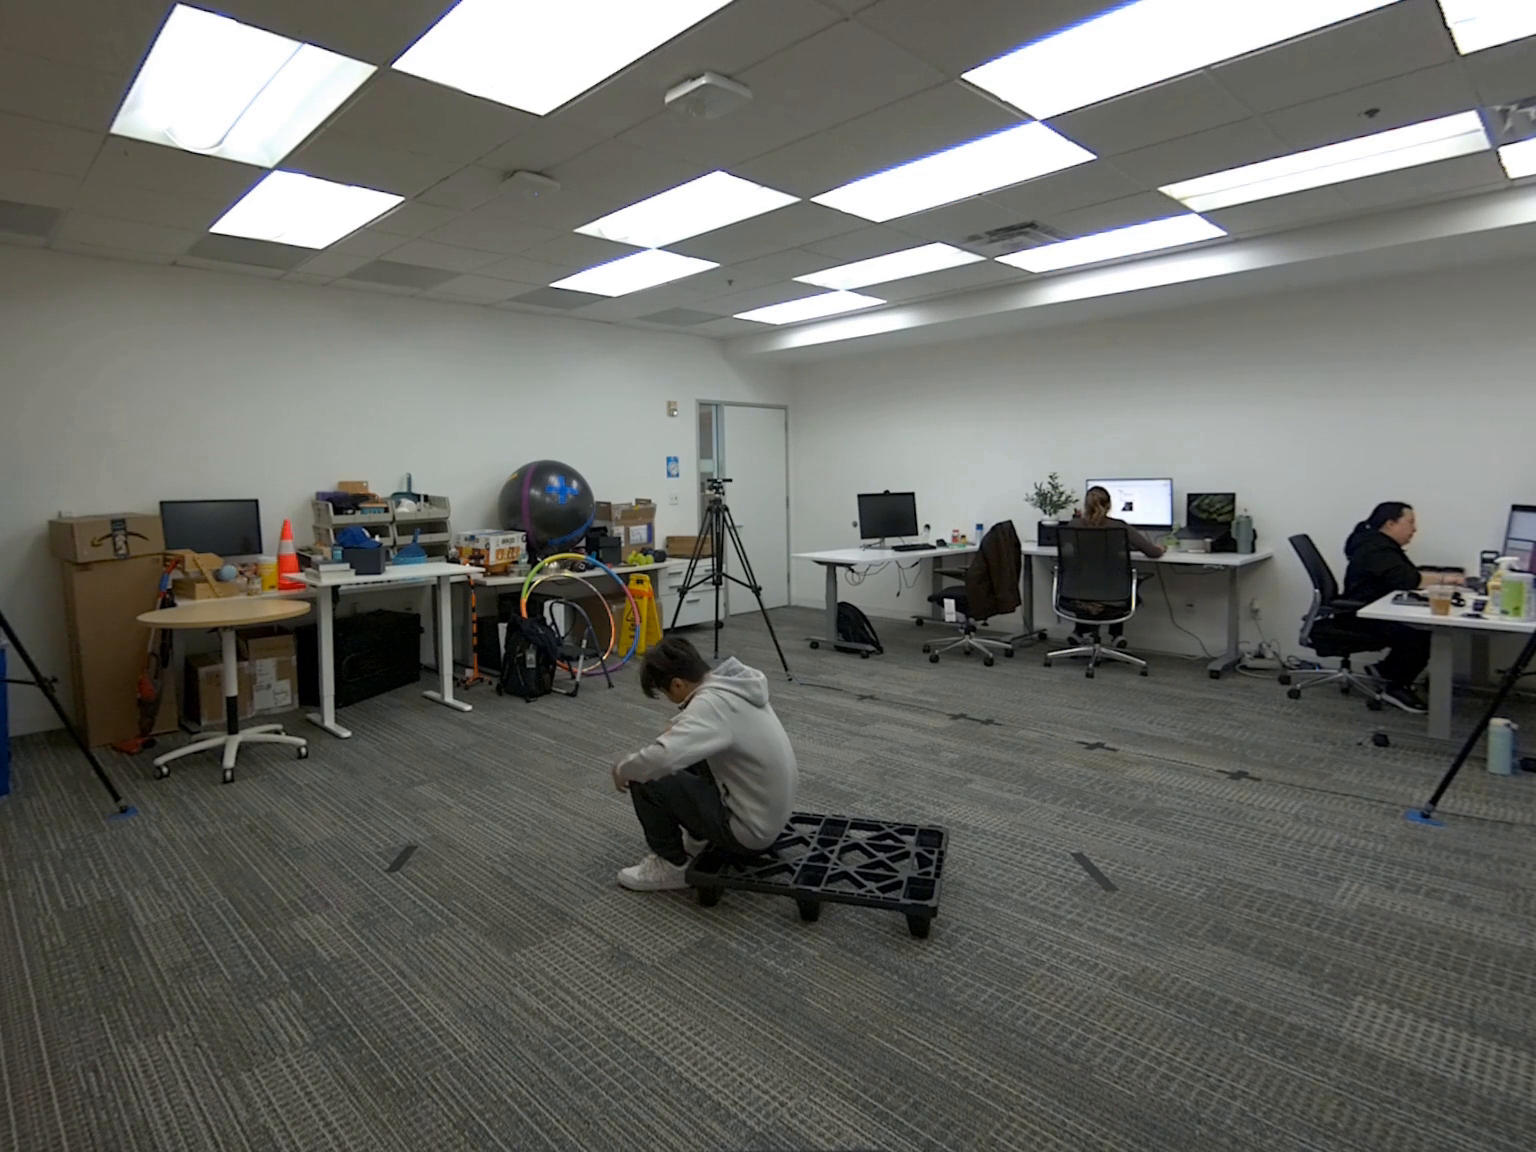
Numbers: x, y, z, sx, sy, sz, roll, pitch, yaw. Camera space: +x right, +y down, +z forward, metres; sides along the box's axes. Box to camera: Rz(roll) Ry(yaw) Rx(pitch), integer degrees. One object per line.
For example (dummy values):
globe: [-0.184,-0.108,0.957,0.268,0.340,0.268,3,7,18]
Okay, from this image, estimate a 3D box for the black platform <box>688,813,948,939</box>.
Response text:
black platform: [0.186,0.989,2.914,0.819,0.143,0.597,1,6,17]
